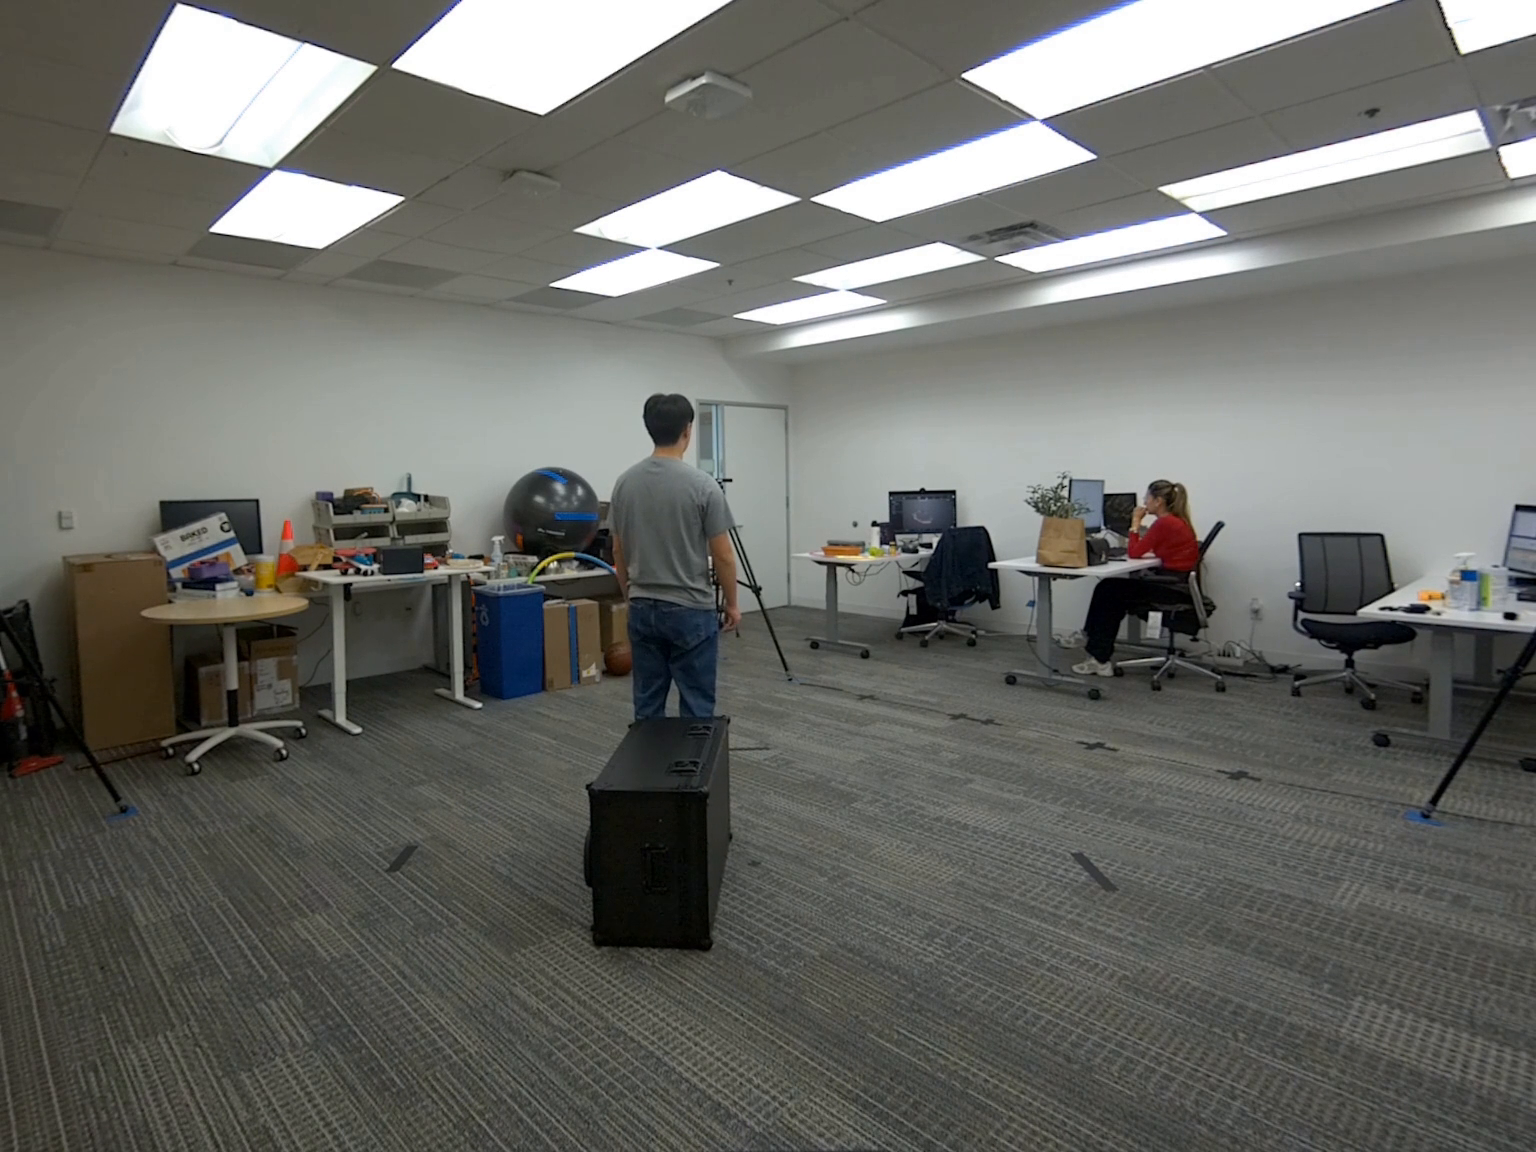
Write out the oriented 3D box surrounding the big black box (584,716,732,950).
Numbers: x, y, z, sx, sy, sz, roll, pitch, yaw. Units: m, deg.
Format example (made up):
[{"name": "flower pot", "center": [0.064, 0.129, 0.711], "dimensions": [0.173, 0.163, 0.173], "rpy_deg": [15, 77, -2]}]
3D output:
[{"name": "big black box", "center": [-0.343, 0.821, 2.957], "dimensions": [0.398, 0.519, 0.861], "rpy_deg": [0, 5, 3]}]
